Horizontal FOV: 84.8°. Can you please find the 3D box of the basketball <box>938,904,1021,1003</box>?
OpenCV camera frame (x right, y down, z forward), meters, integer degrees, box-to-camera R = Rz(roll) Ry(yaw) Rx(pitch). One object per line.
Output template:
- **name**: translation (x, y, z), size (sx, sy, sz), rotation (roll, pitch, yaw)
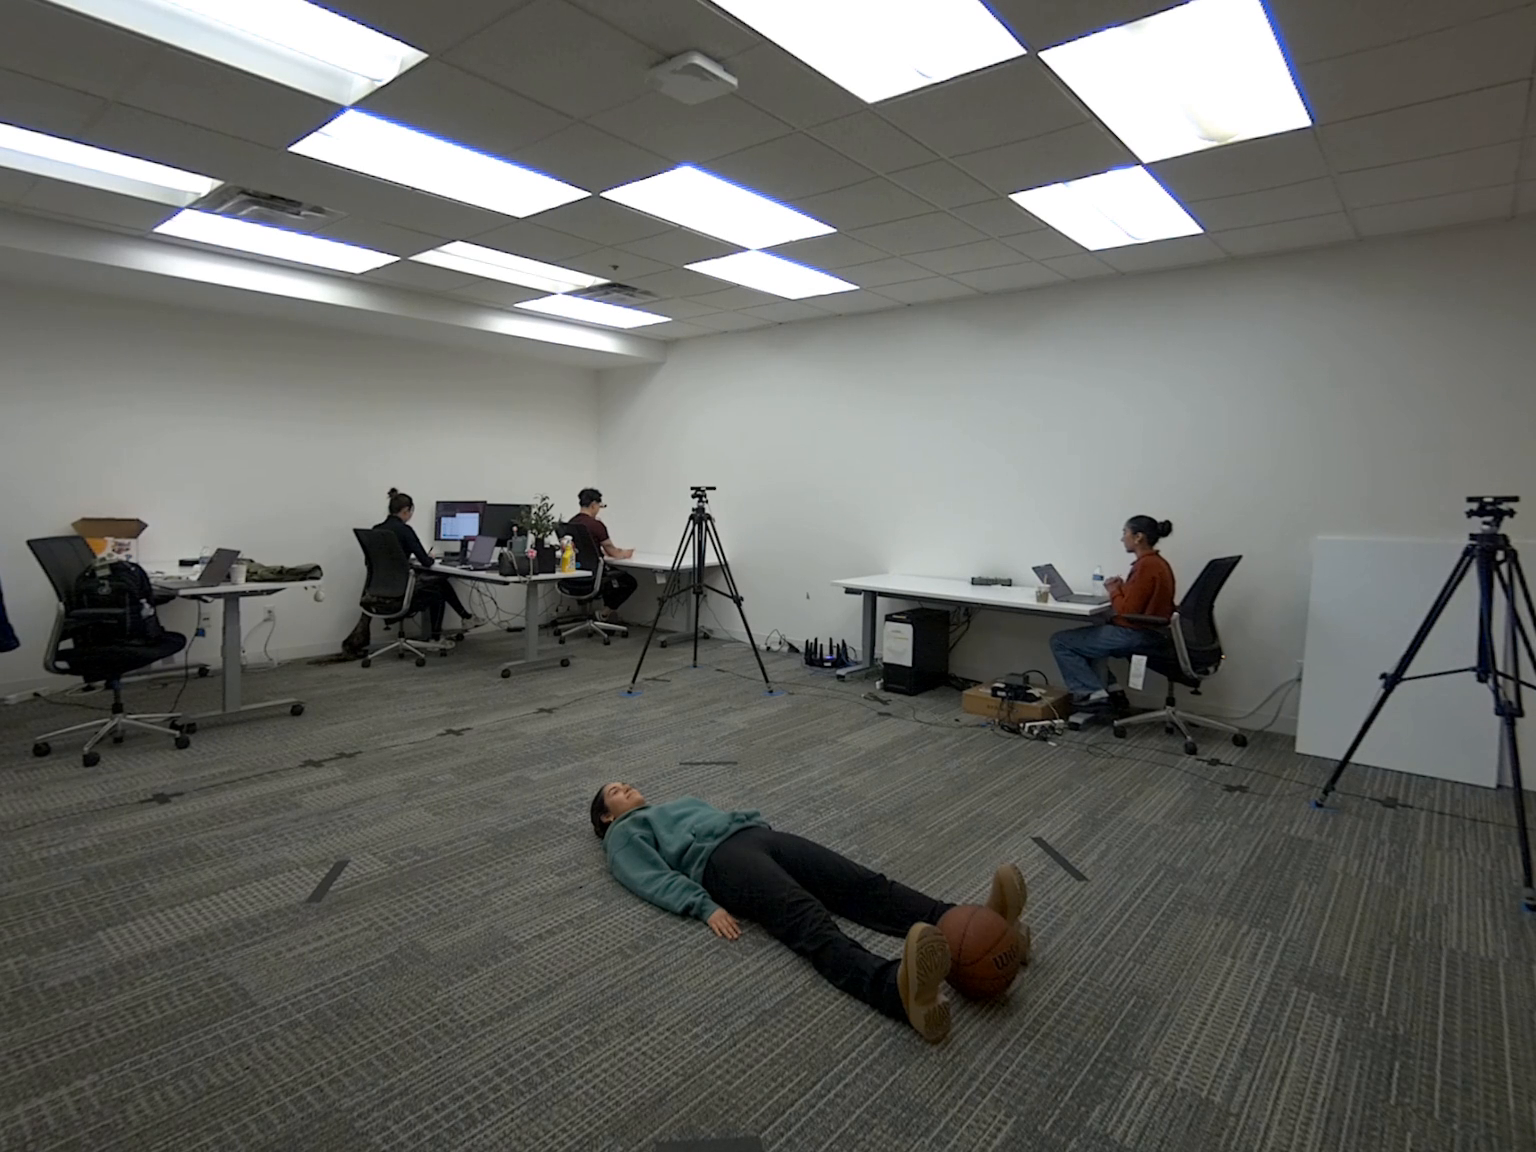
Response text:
- **basketball**: translation (0.572, 1.037, 2.378), size (0.236, 0.235, 0.237), rotation (0, 4, -2)
